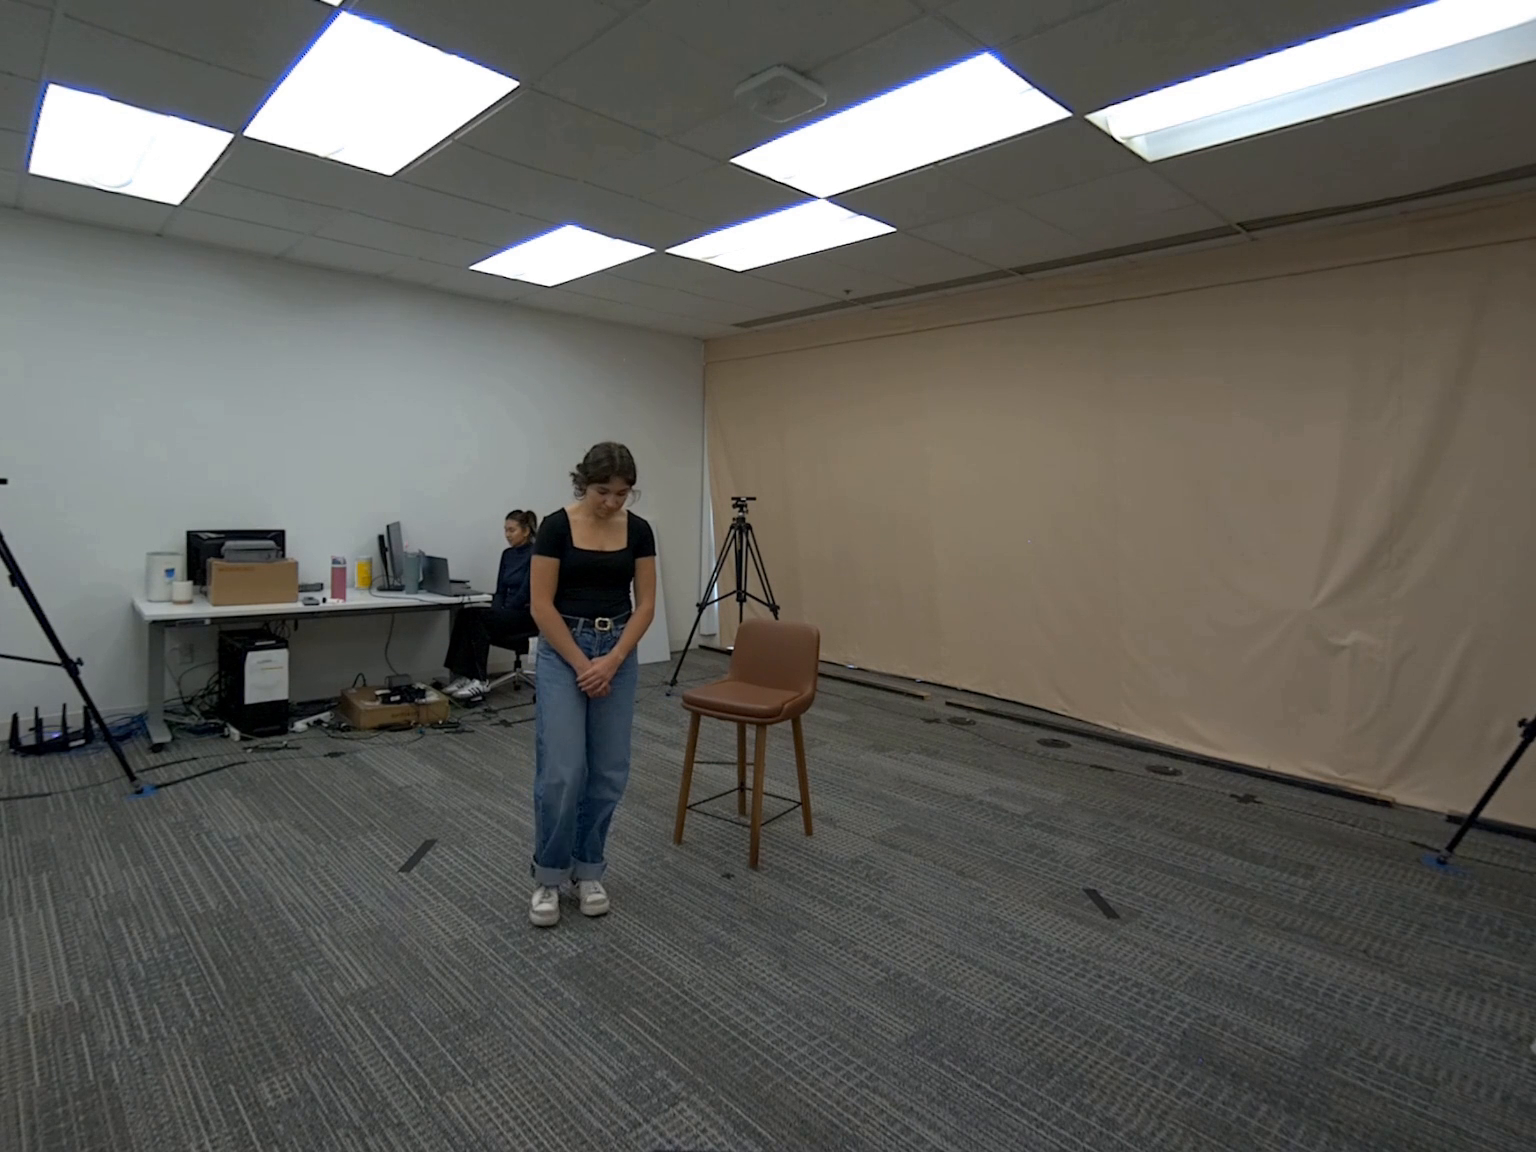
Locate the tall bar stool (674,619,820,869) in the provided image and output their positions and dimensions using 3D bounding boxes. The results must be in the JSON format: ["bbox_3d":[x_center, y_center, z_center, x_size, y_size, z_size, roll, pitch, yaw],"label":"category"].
[{"bbox_3d":[-0.081,0.645,3.431,0.467,0.889,0.457,4,2,37],"label":"tall bar stool"}]
